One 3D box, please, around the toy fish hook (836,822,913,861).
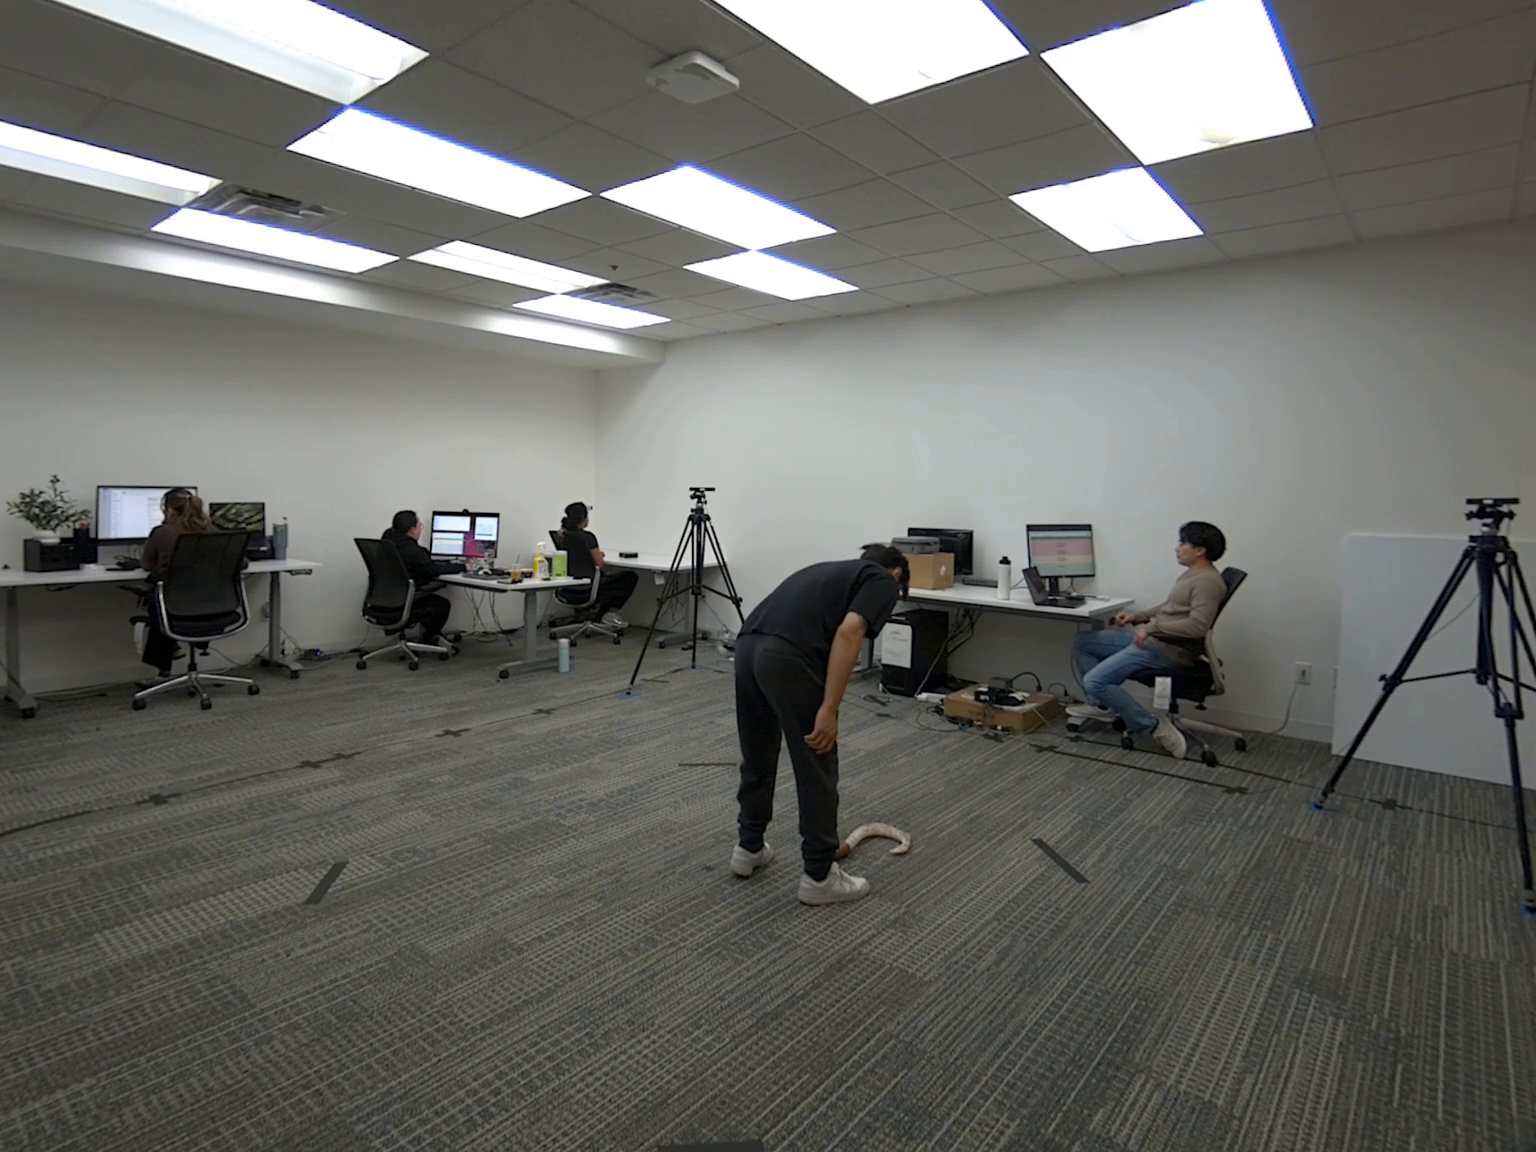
[{"bbox_3d":[0.363,1.042,3.269,0.232,0.048,0.492,5,7,42],"label":"toy fish hook"}]
